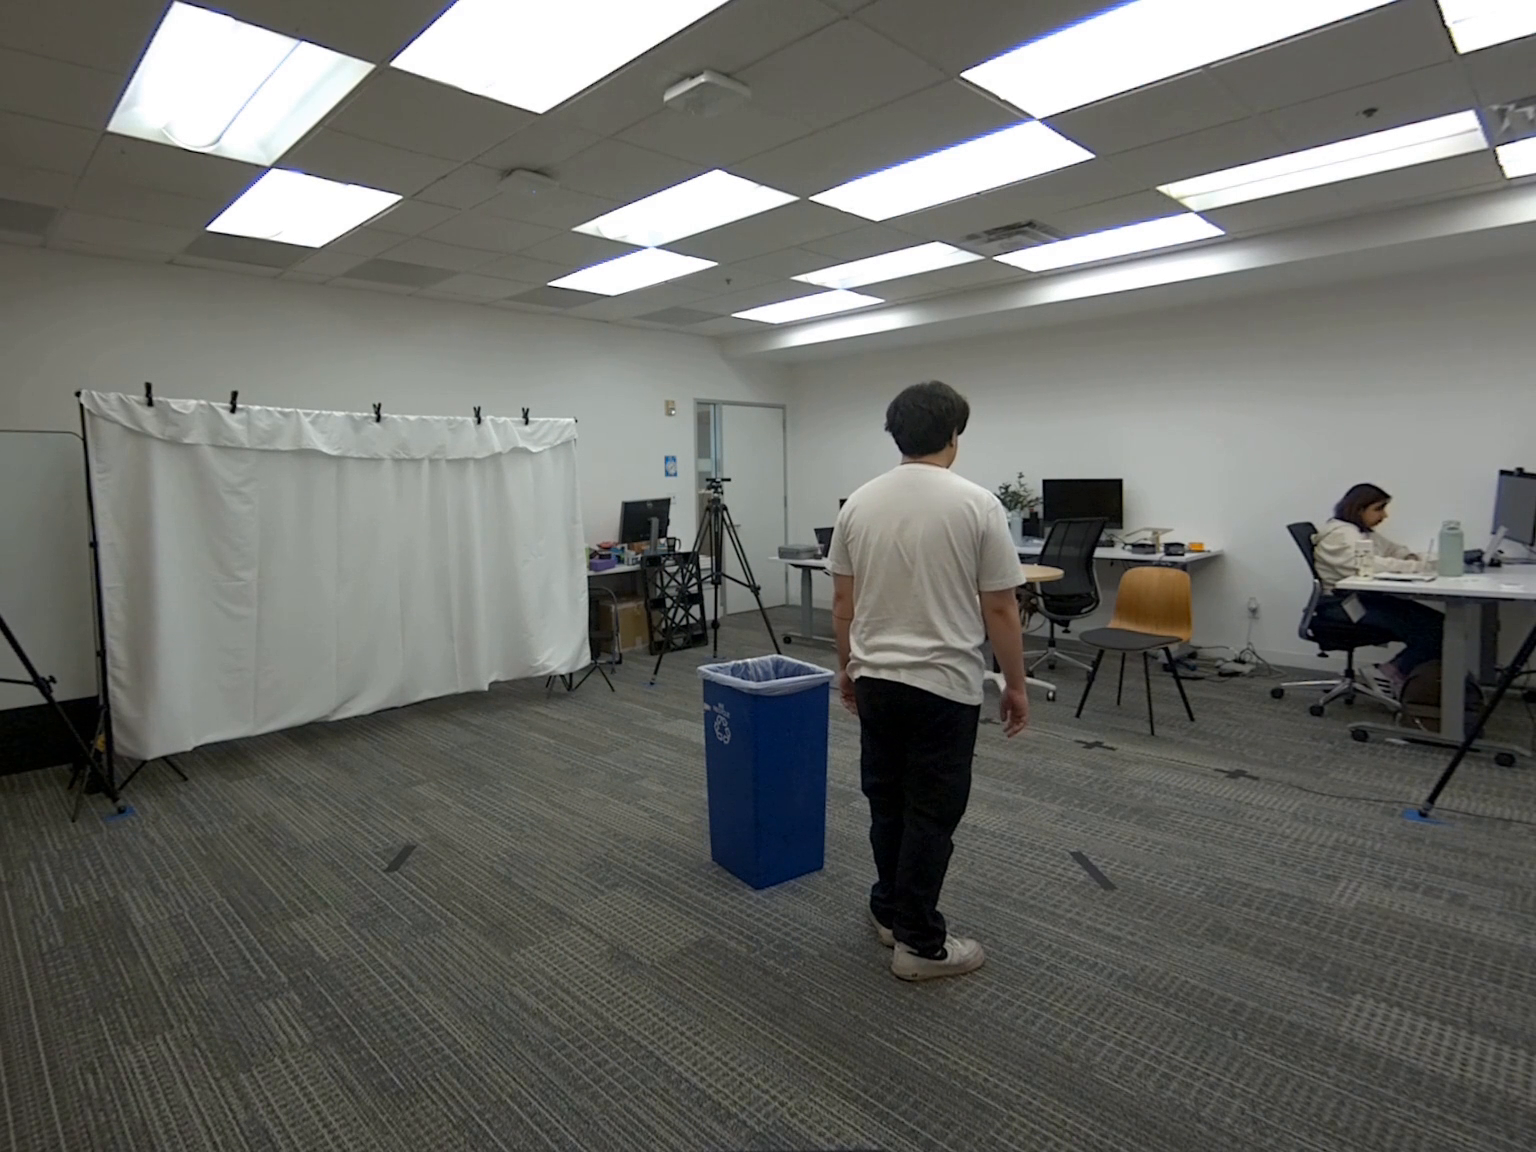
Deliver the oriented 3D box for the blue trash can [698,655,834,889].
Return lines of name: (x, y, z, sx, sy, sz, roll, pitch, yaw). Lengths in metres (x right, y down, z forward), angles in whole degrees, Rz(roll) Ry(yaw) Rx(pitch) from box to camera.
blue trash can: (0.001, 0.687, 3.070, 0.368, 0.711, 0.385, -4, 5, -35)
